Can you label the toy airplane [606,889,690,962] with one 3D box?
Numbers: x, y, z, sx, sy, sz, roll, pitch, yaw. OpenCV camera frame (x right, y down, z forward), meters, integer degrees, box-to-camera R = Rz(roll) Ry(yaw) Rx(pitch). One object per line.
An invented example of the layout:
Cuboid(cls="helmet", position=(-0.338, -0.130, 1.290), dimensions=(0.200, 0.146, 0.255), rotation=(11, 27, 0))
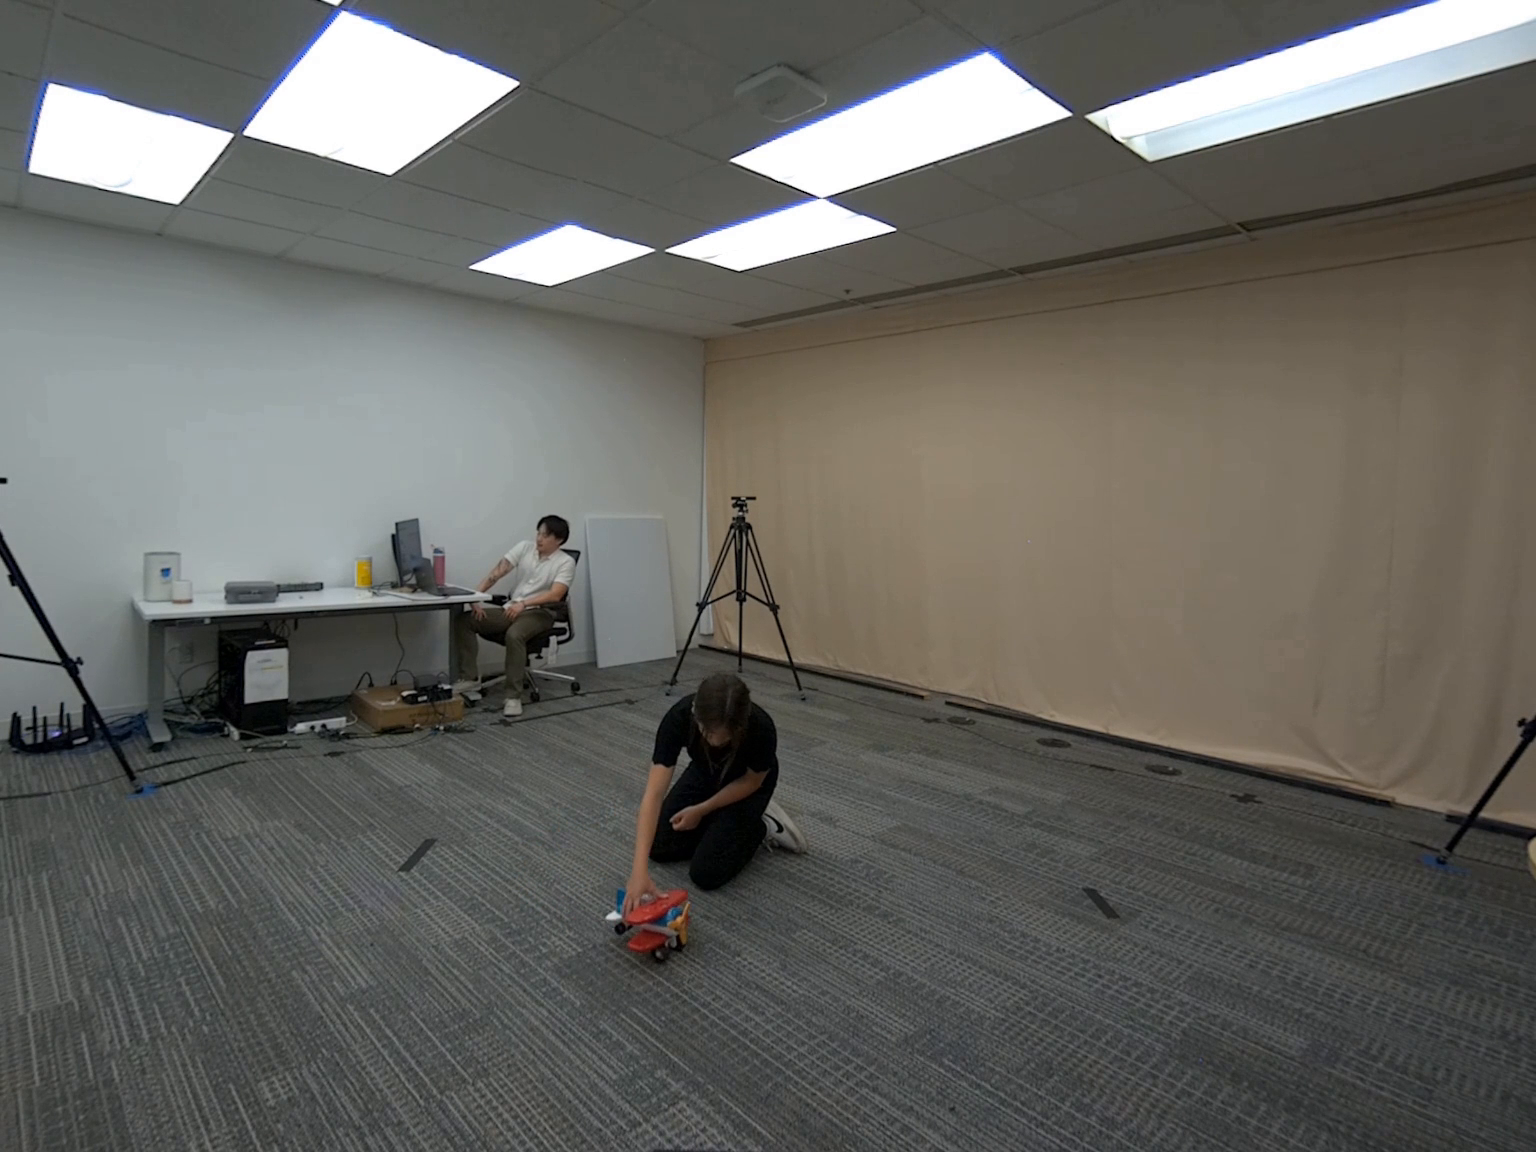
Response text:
Cuboid(cls="toy airplane", position=(-0.387, 1.068, 2.570), dimensions=(0.260, 0.156, 0.251), rotation=(8, 8, 3))
